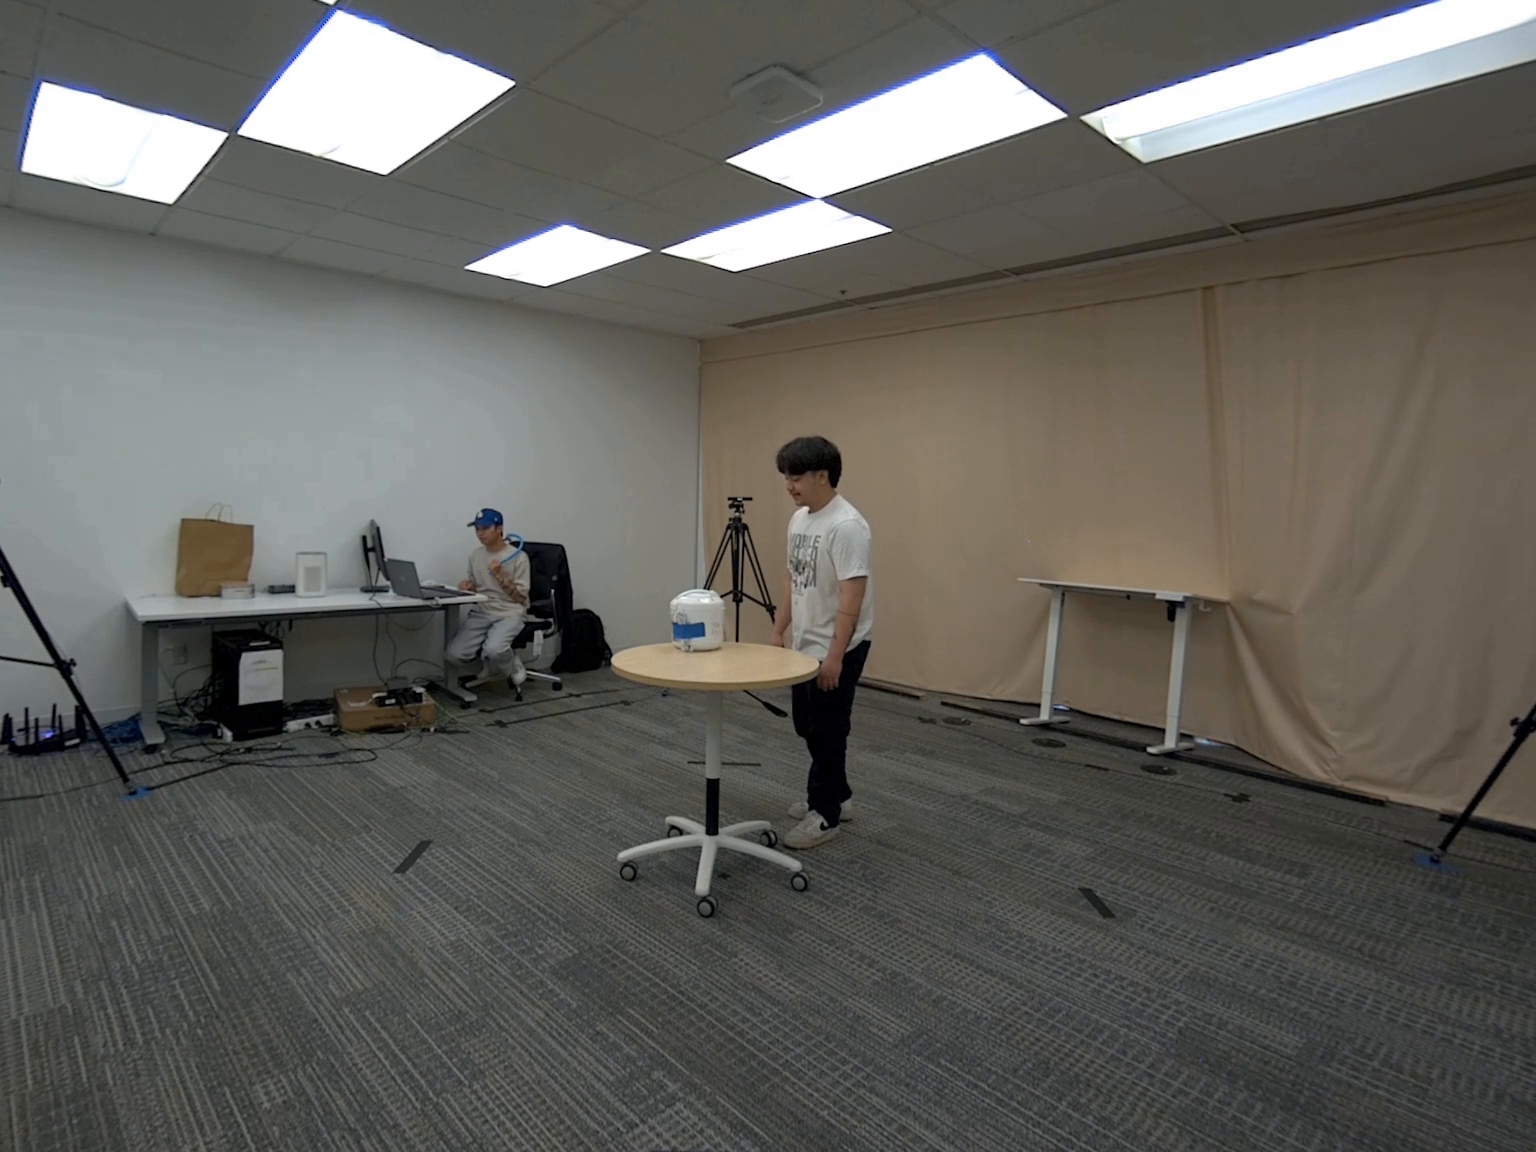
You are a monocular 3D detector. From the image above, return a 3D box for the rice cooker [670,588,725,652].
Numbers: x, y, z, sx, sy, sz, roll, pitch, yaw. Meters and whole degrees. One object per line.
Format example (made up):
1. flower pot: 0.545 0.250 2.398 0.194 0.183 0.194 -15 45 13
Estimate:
1. rice cooker: -0.288 0.169 3.340 0.217 0.232 0.221 1 5 -22
